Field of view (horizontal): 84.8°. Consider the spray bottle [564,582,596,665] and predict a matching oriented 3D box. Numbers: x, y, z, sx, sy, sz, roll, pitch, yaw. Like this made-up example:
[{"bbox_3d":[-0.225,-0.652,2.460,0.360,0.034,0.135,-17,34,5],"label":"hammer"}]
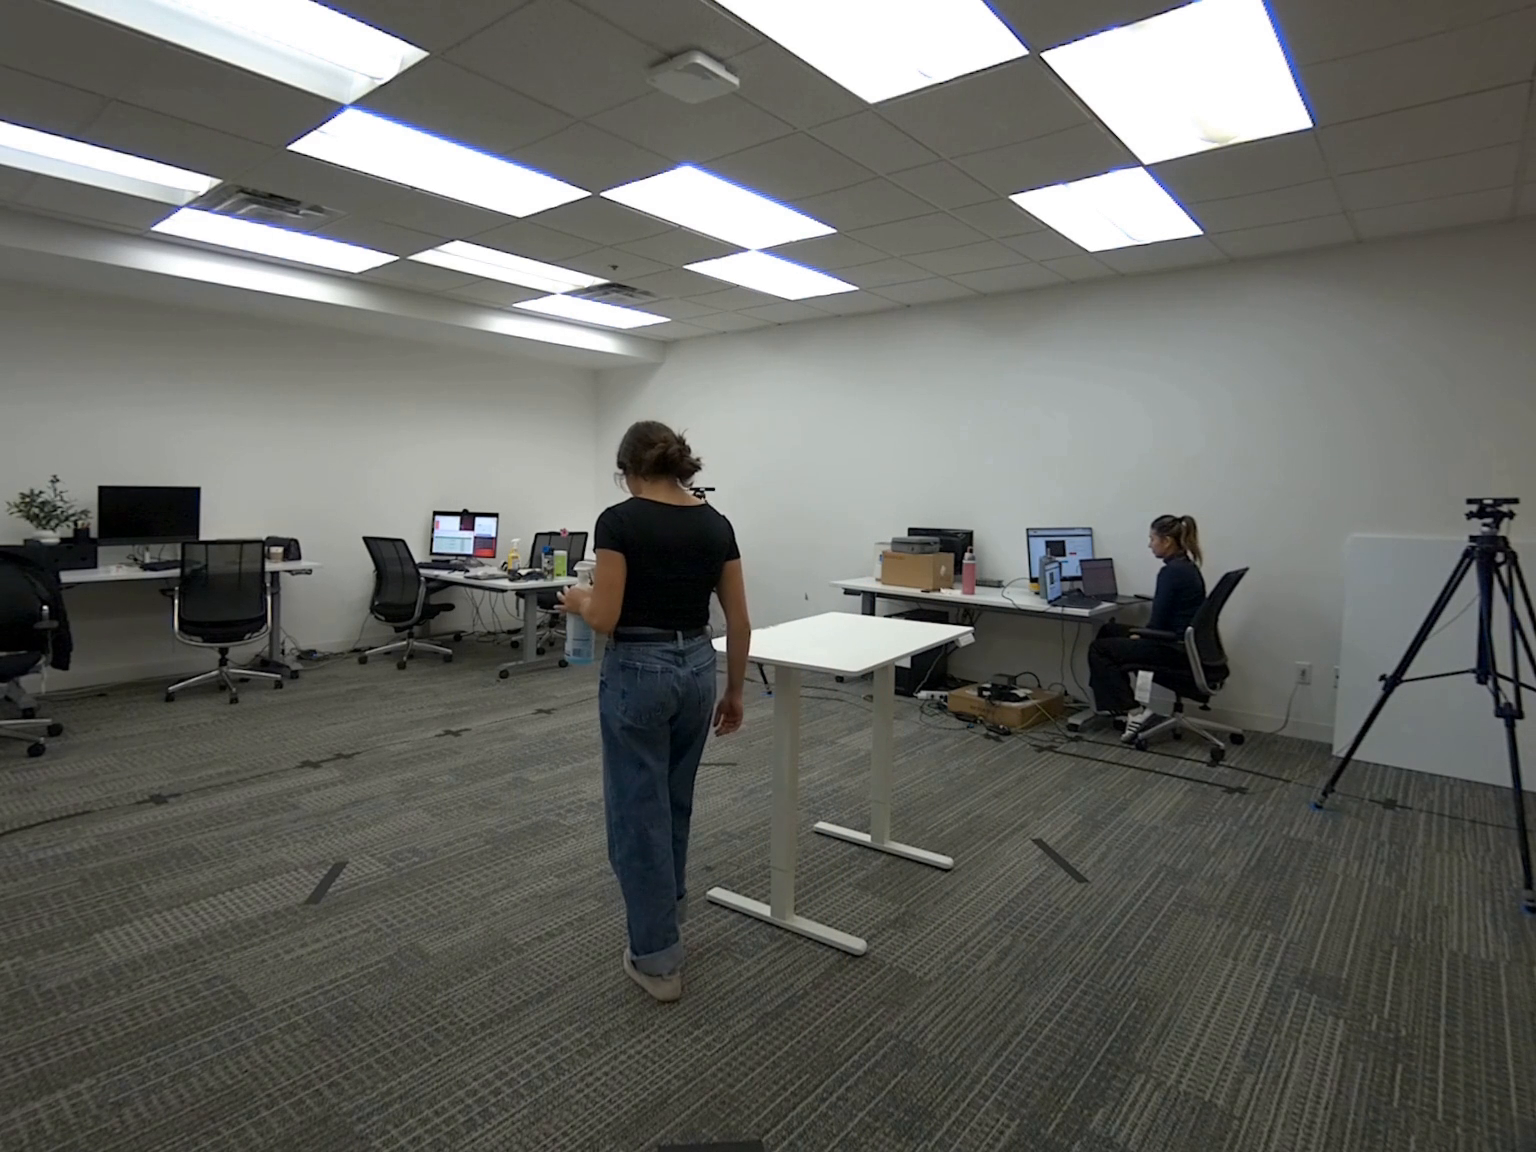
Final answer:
[{"bbox_3d":[-0.553,0.105,2.480,0.085,0.296,0.093,1,7,-30],"label":"spray bottle"}]
